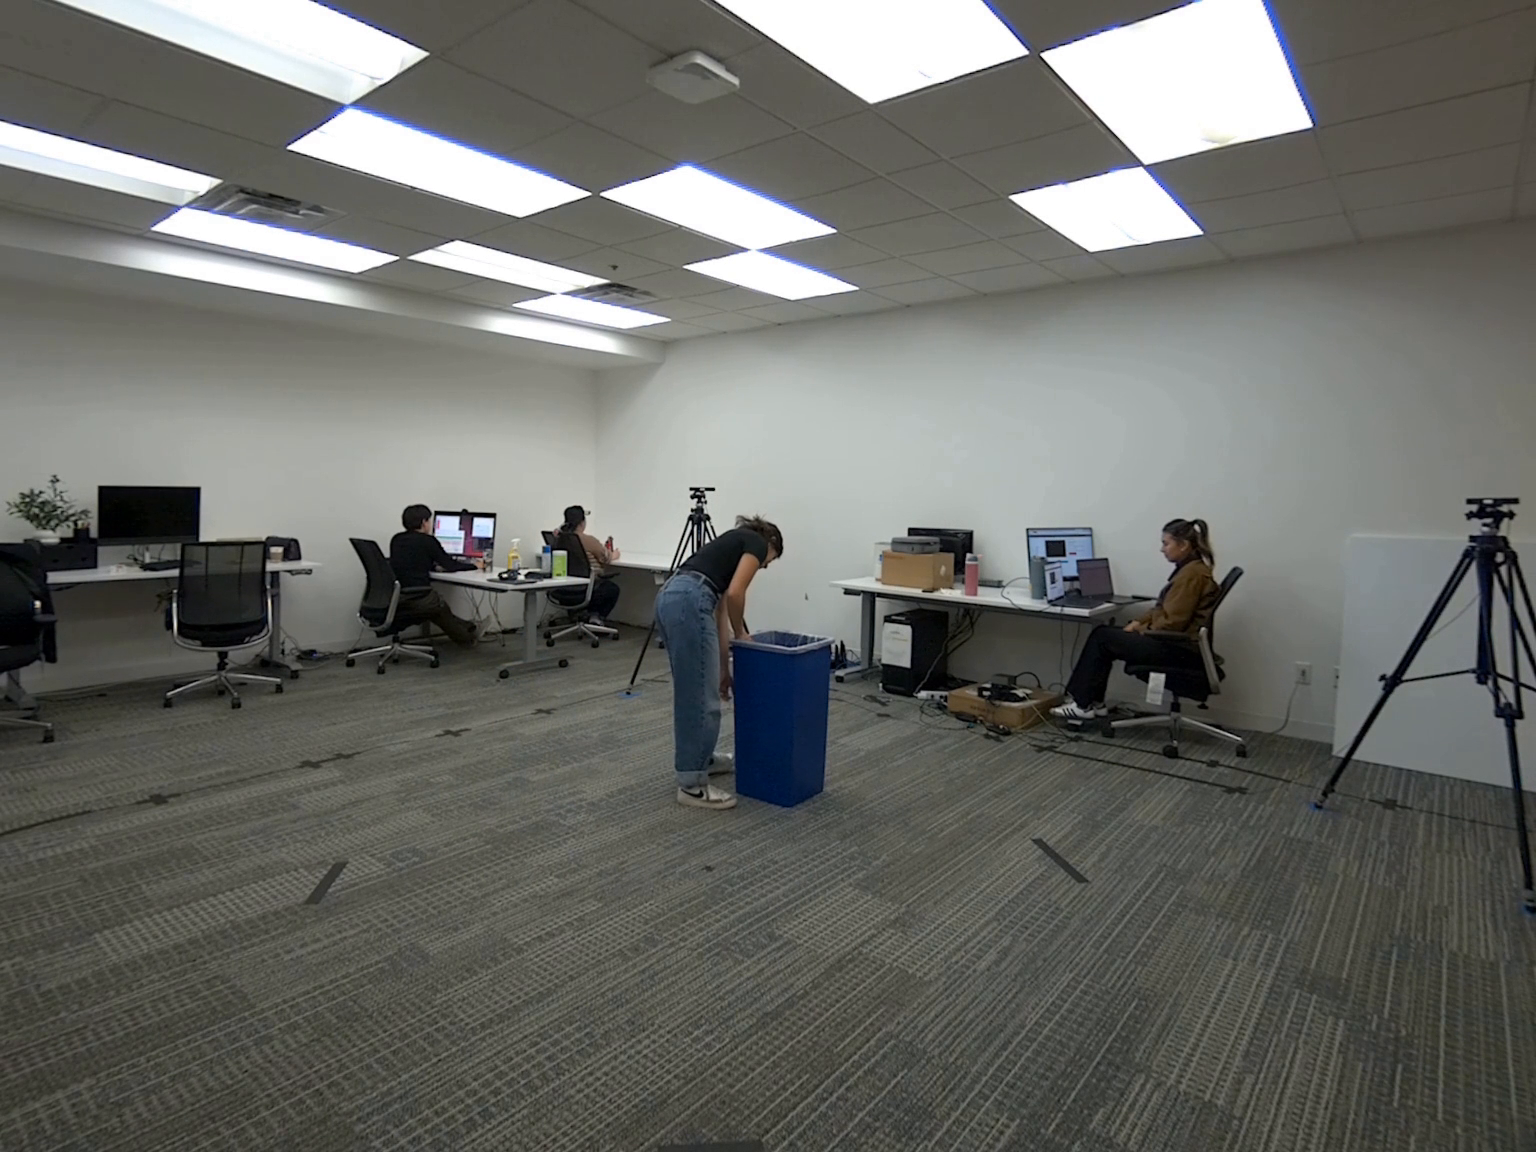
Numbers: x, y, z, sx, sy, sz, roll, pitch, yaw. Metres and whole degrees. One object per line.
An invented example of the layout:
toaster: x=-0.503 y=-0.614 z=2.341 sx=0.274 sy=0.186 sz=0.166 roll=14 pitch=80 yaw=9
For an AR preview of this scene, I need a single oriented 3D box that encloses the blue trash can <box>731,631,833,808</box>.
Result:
blue trash can: x=0.064 y=0.638 z=3.905 sx=0.386 sy=0.712 sz=0.367 roll=3 pitch=4 yaw=36
